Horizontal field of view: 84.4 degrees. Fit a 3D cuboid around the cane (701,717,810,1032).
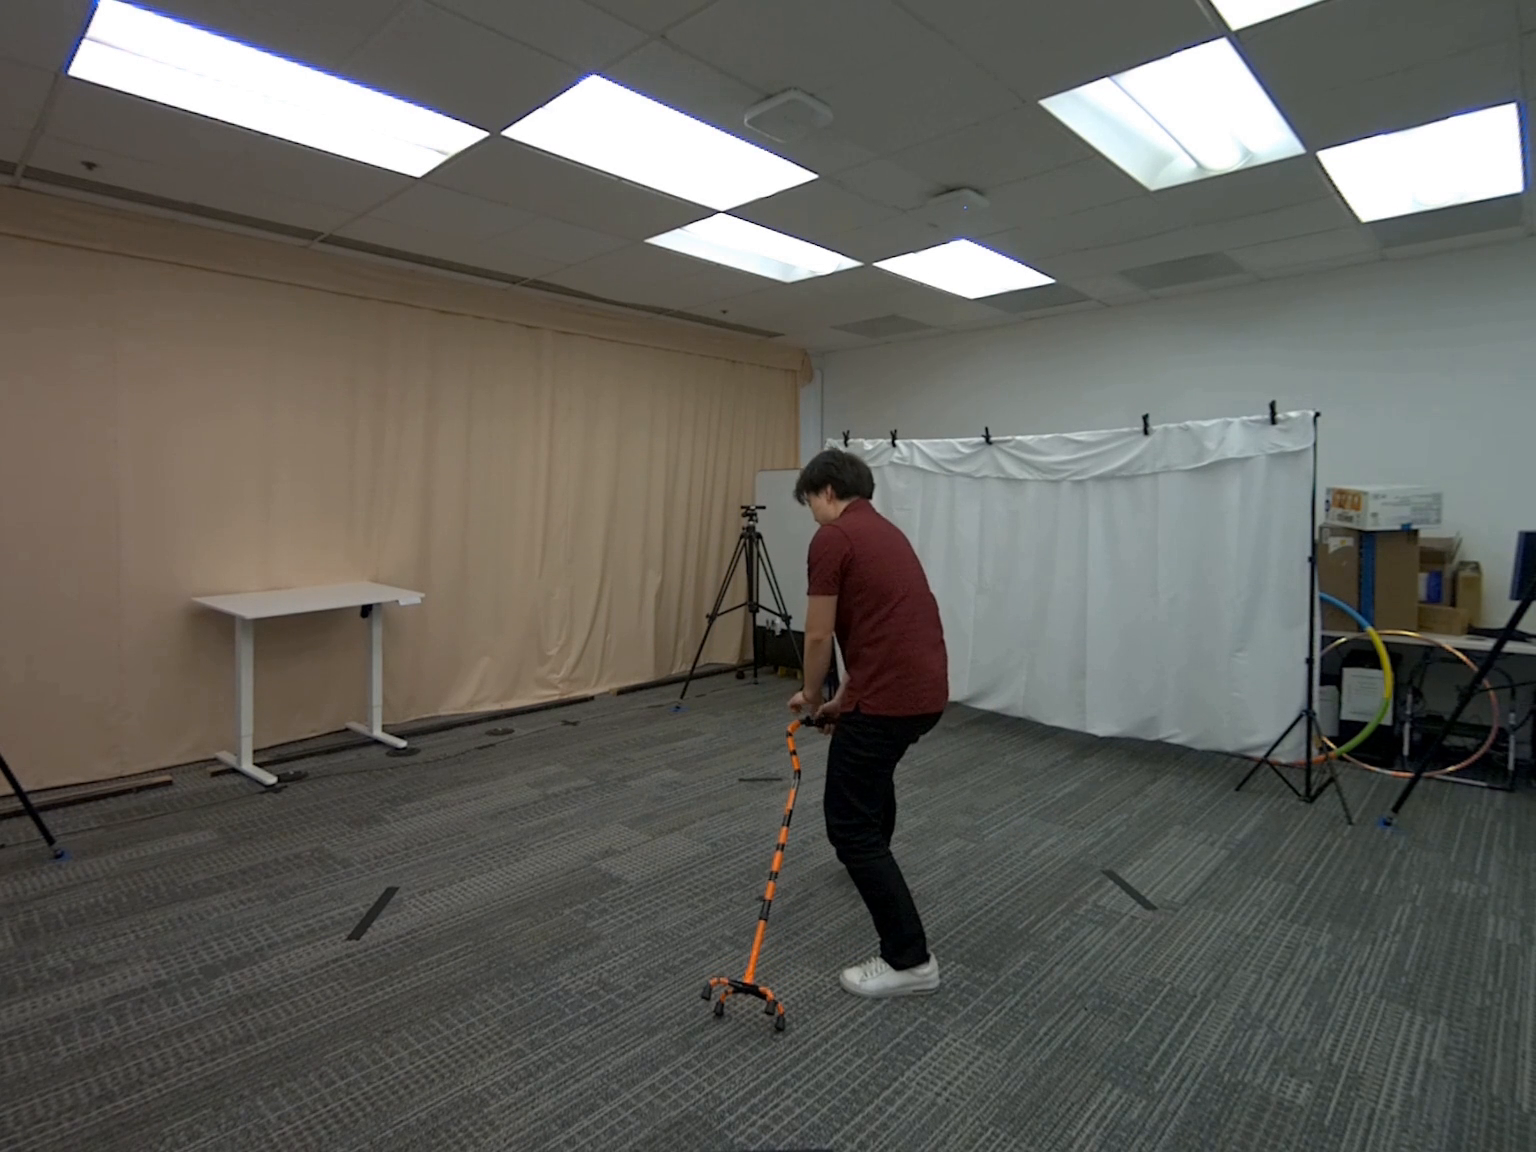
[{"bbox_3d":[0.046,0.827,2.500,0.211,0.914,0.147,1,-42,20],"label":"cane"}]
